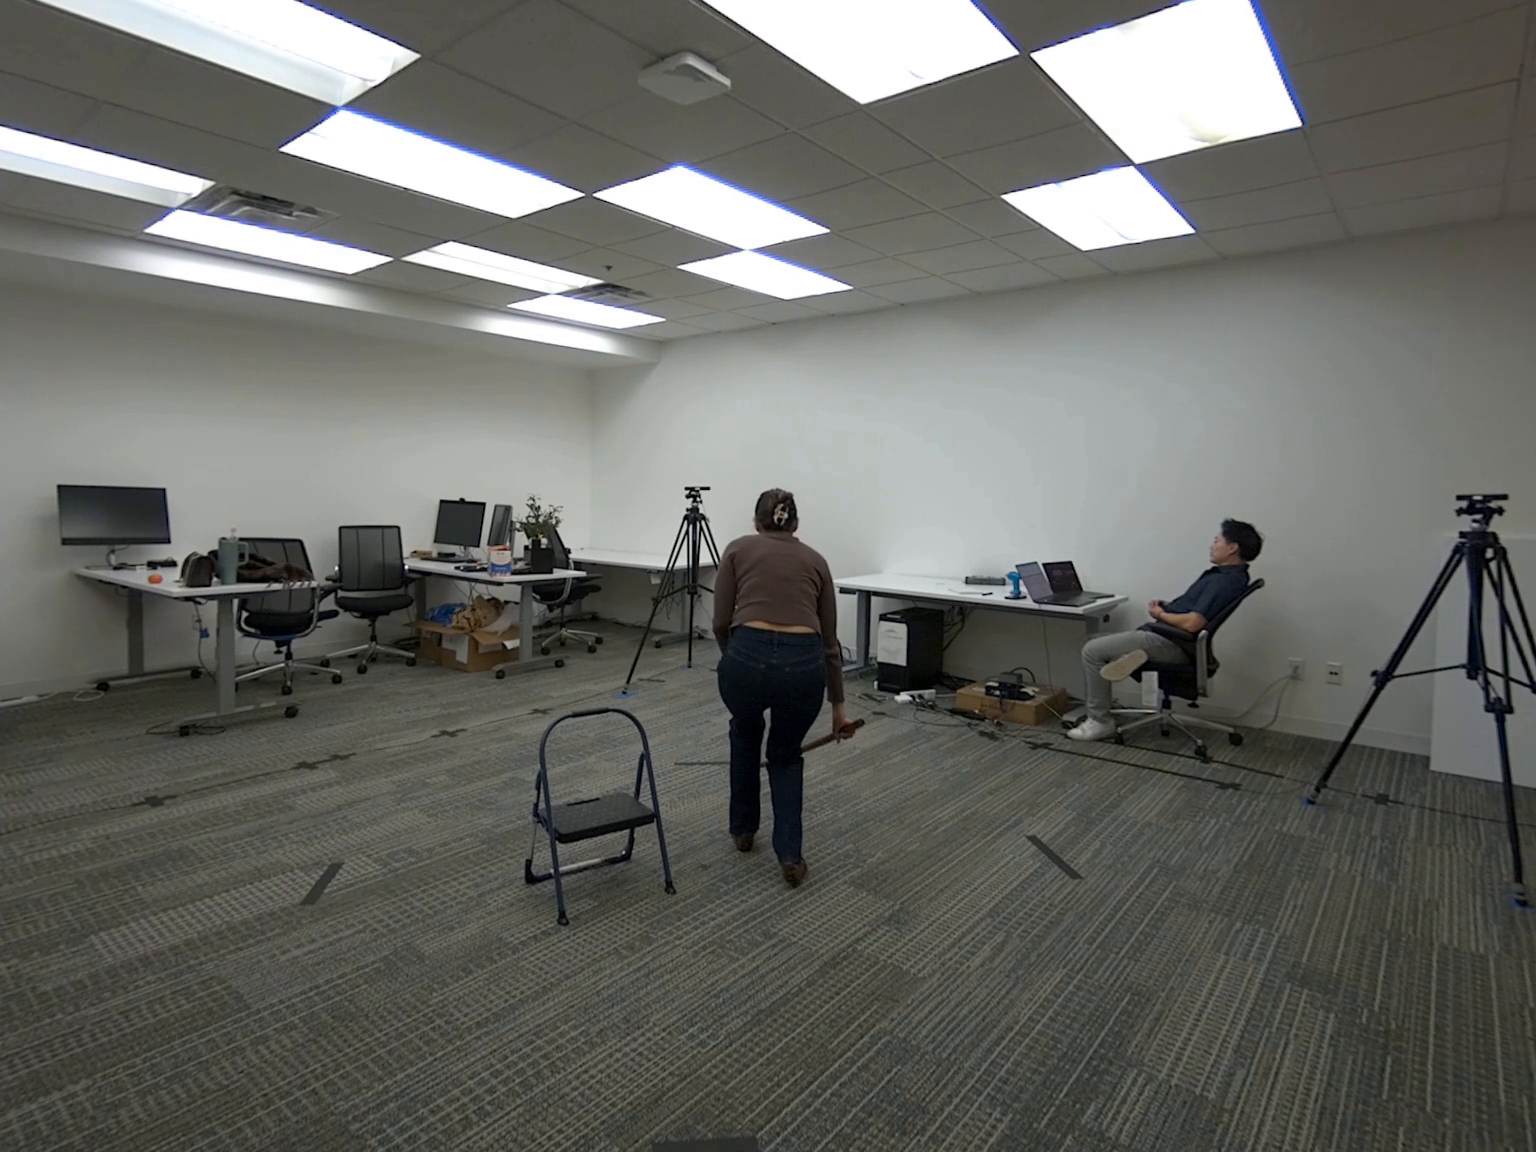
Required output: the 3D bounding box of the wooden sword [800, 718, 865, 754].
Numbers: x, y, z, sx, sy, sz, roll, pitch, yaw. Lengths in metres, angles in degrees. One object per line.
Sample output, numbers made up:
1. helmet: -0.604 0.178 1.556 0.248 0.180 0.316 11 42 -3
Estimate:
1. wooden sword: 0.112 0.716 3.551 0.024 0.051 1.029 -49 6 -32
